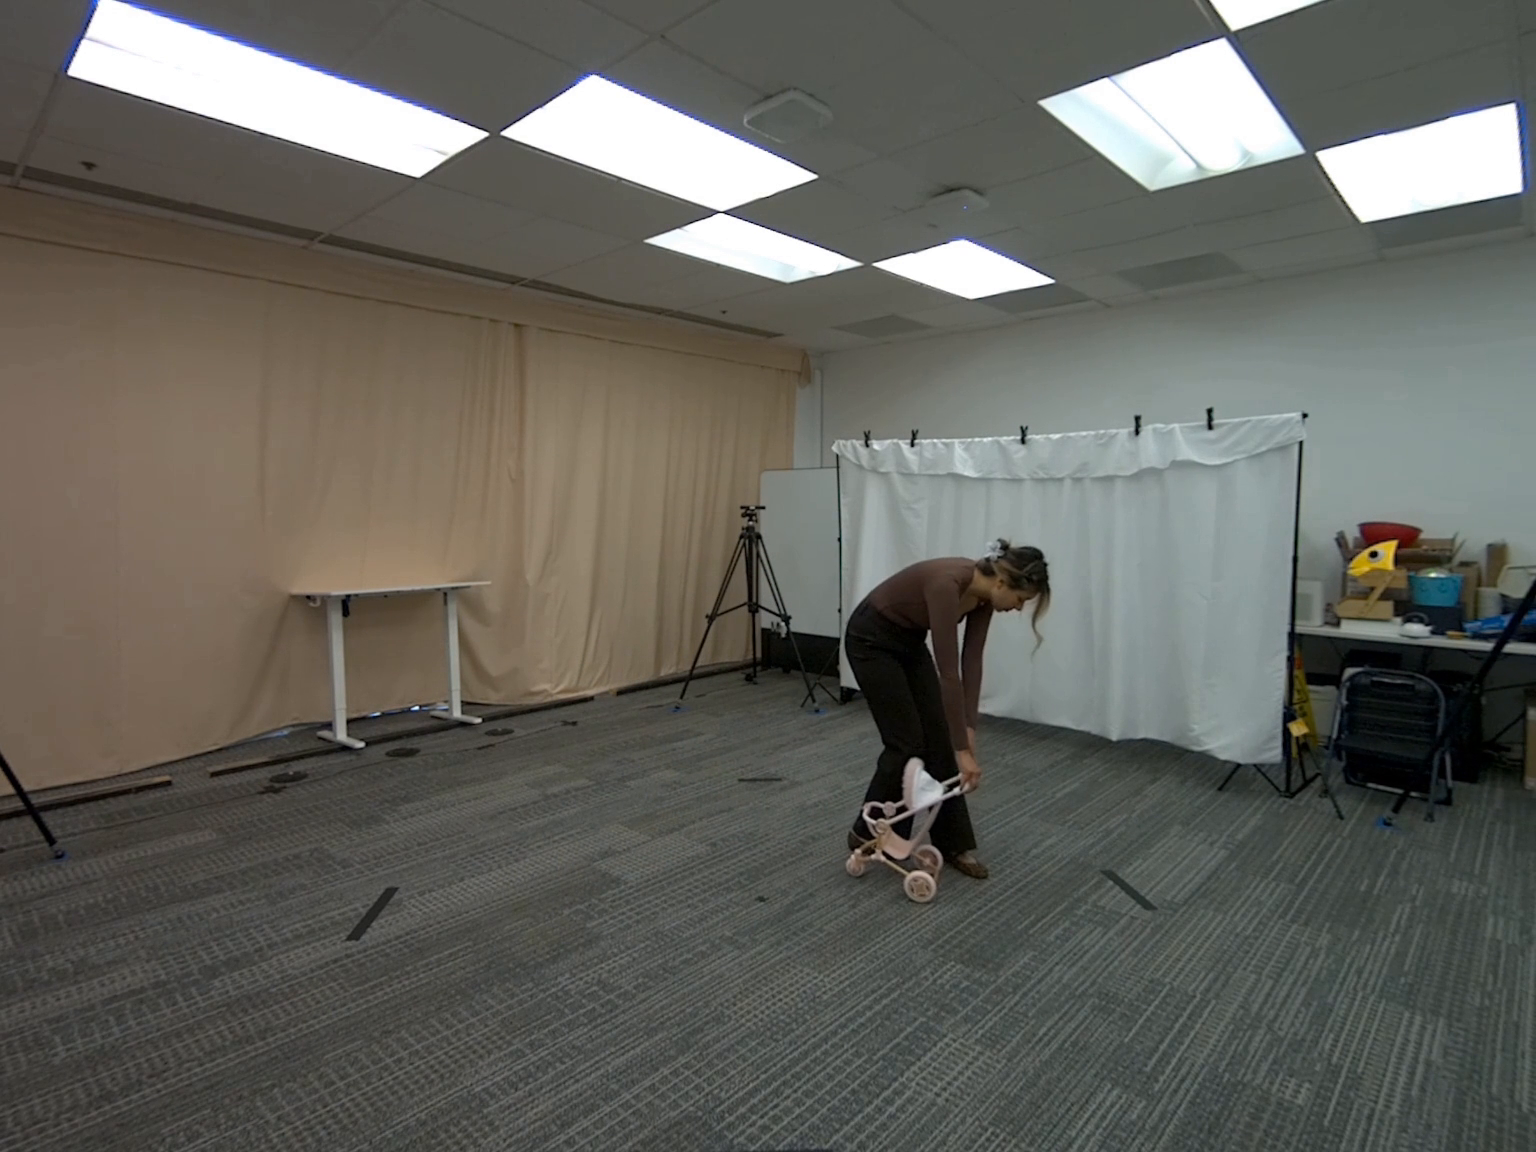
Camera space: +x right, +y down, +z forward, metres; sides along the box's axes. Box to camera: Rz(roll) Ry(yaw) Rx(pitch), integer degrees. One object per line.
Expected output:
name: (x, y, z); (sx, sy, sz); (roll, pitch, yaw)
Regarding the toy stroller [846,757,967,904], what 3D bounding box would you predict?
toy stroller: (0.509, 0.907, 3.084); (0.350, 0.533, 0.275); (19, 9, 21)
